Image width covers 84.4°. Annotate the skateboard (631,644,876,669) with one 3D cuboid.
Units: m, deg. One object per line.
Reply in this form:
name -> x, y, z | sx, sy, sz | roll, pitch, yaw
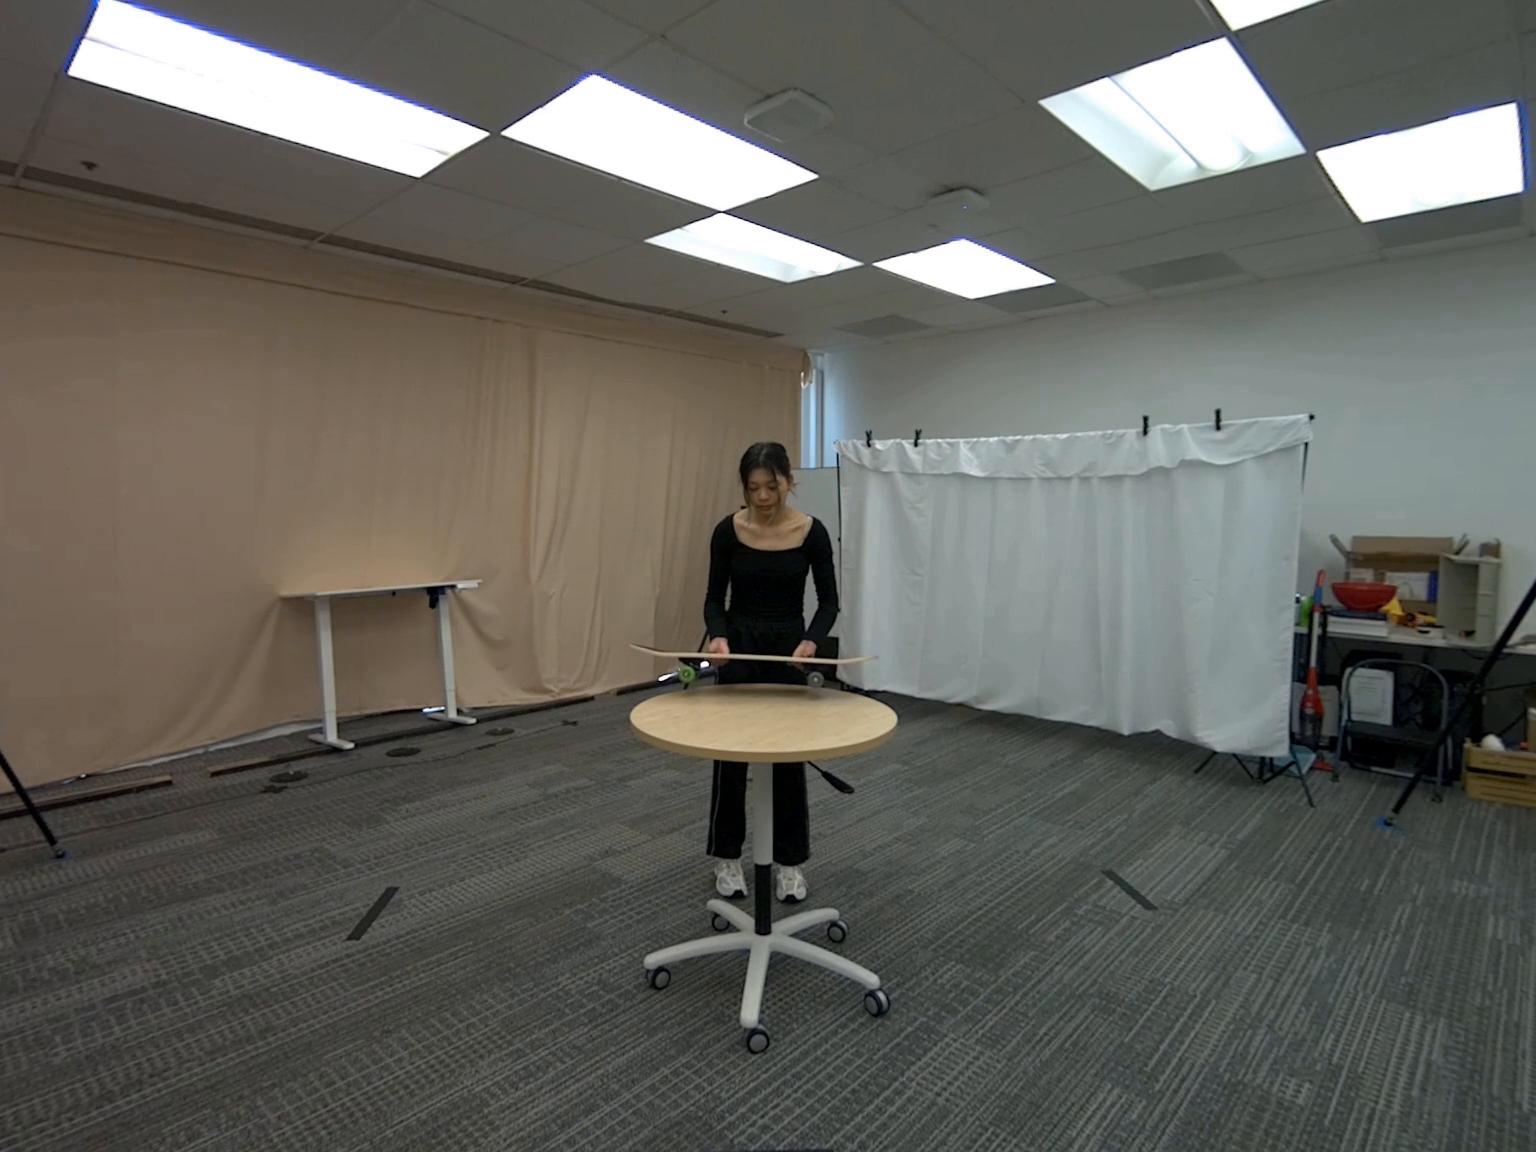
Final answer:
skateboard -> -0.036, 0.293, 2.691 | 0.786, 0.111, 0.193 | 2, -5, 0
